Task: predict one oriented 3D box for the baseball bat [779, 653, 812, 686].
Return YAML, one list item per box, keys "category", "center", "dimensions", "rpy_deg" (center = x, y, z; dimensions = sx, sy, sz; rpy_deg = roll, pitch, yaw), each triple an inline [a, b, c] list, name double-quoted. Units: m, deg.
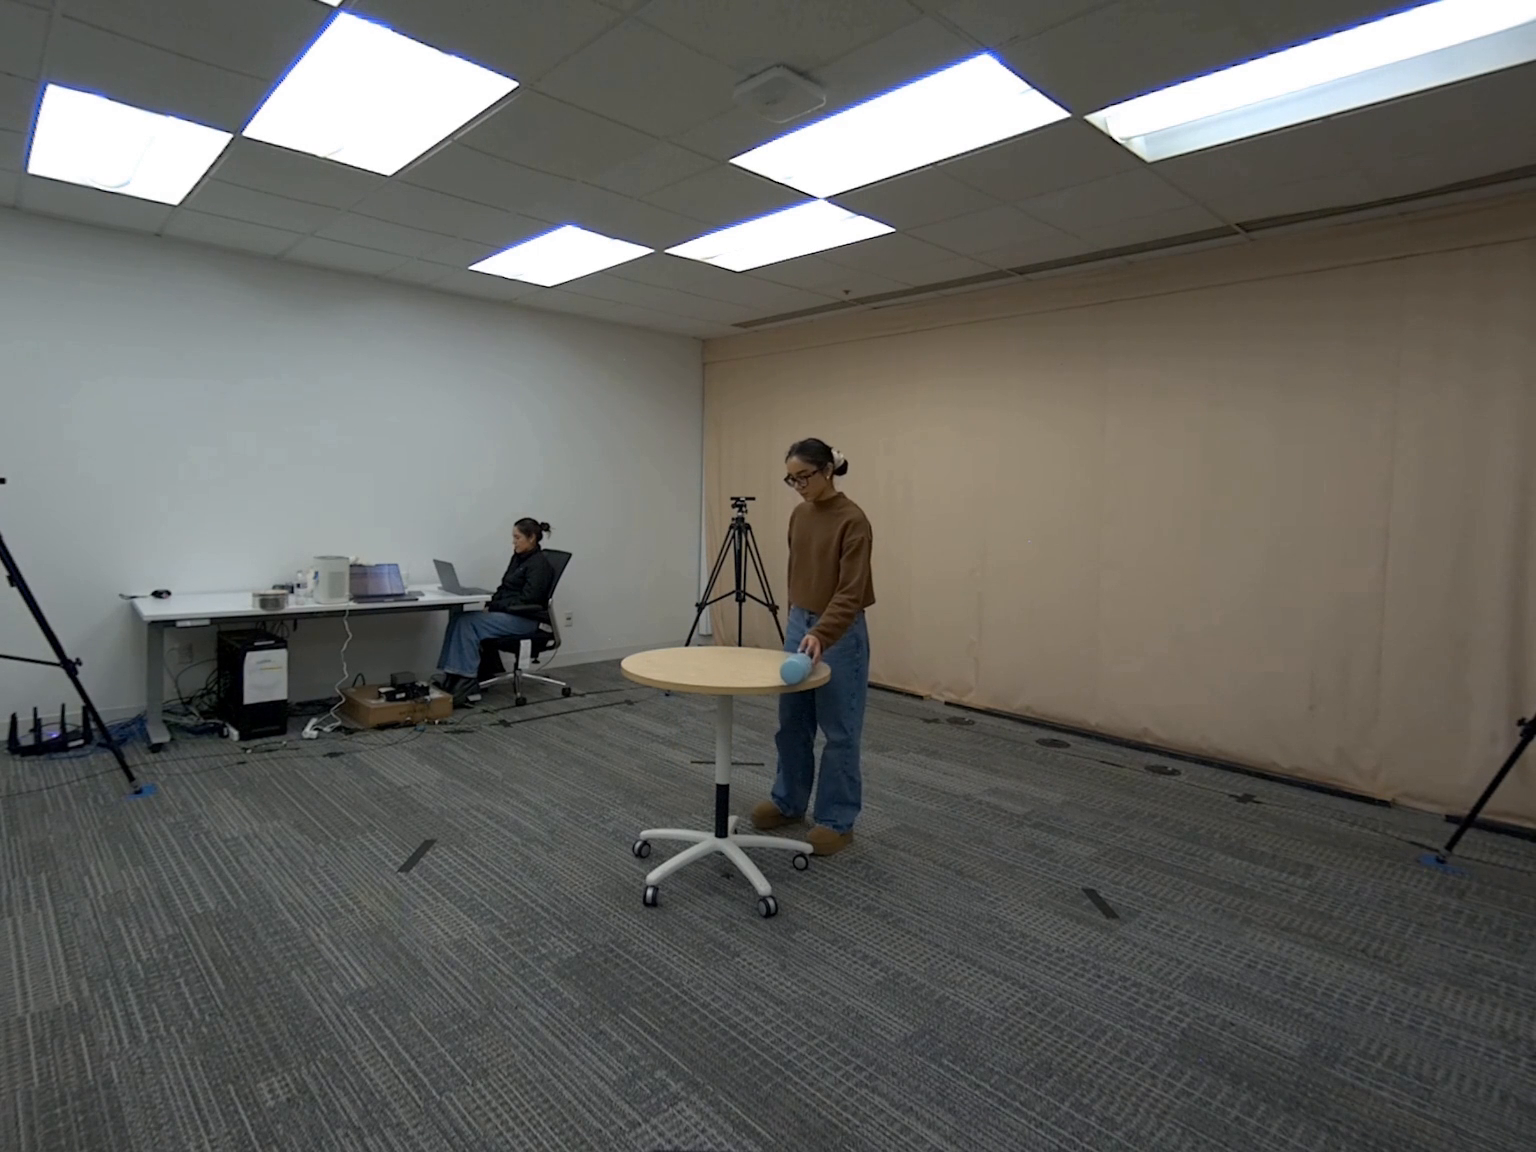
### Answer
- category: "baseball bat"
  center: [0.124, 0.319, 2.964]
  dimensions: [0.090, 0.089, 0.536]
  rpy_deg: [3, -1, 13]
